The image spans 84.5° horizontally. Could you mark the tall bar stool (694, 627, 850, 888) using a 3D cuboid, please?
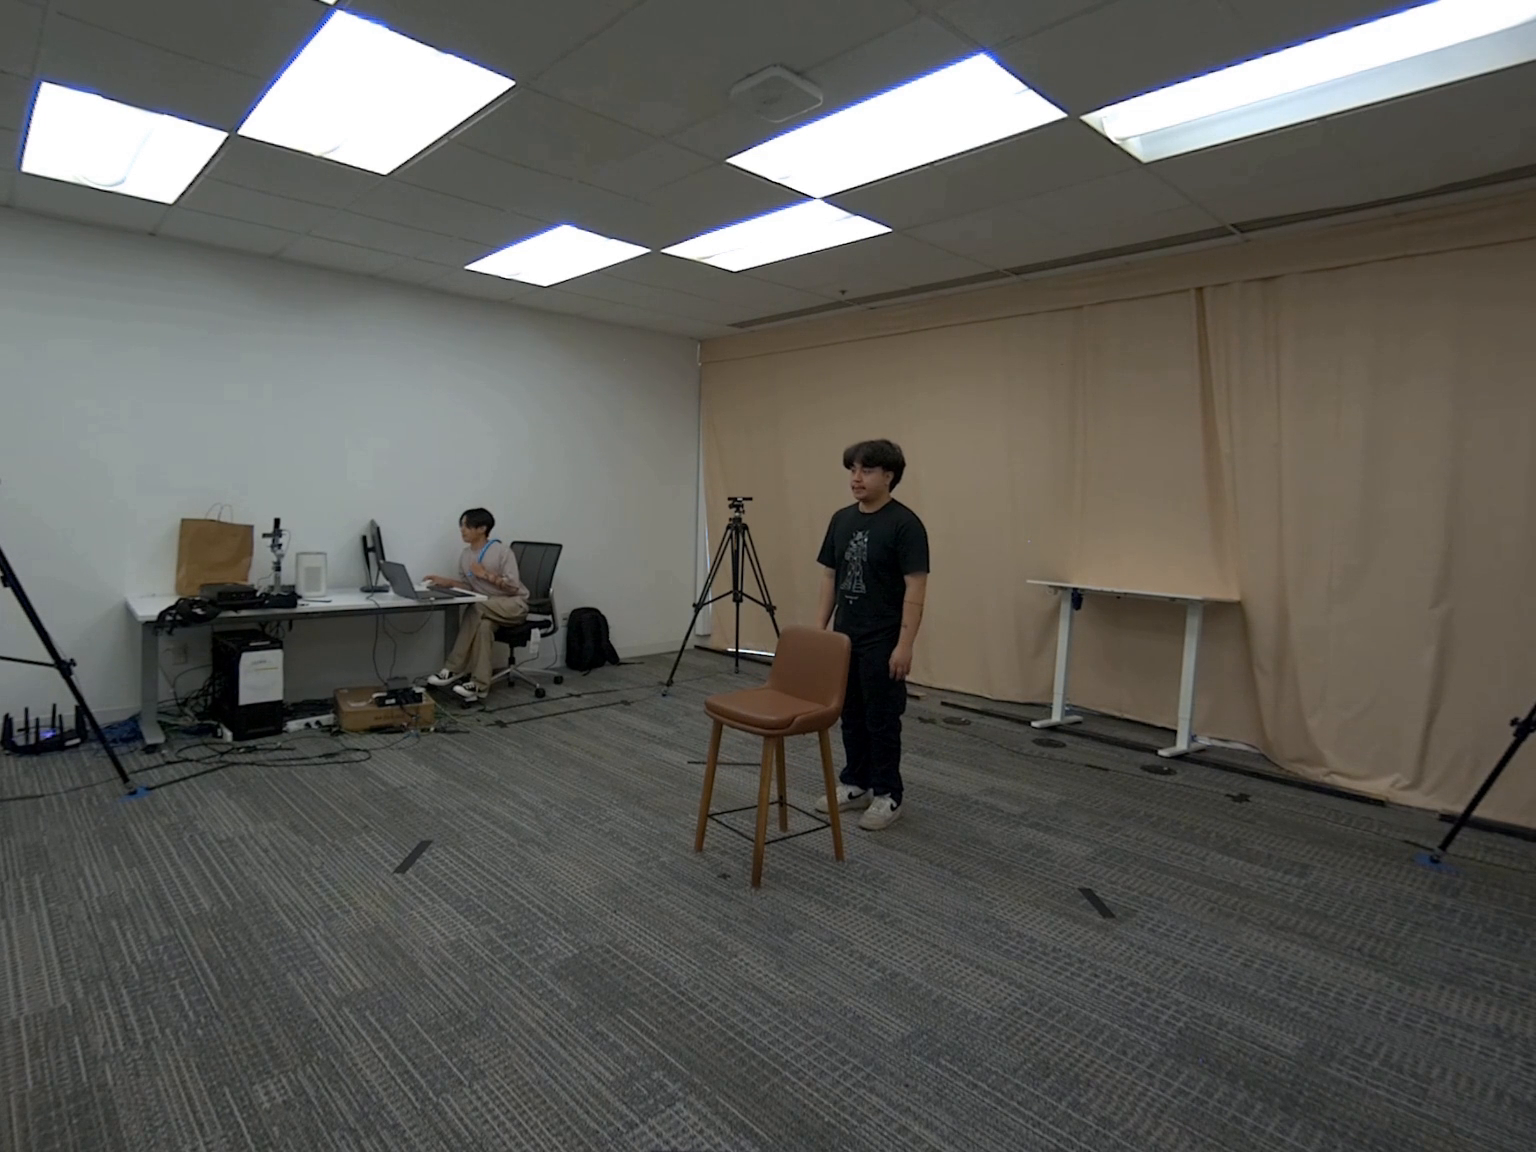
[{"bbox_3d":[0.016,0.663,3.275,0.457,0.889,0.467,1,2,-36],"label":"tall bar stool"}]
